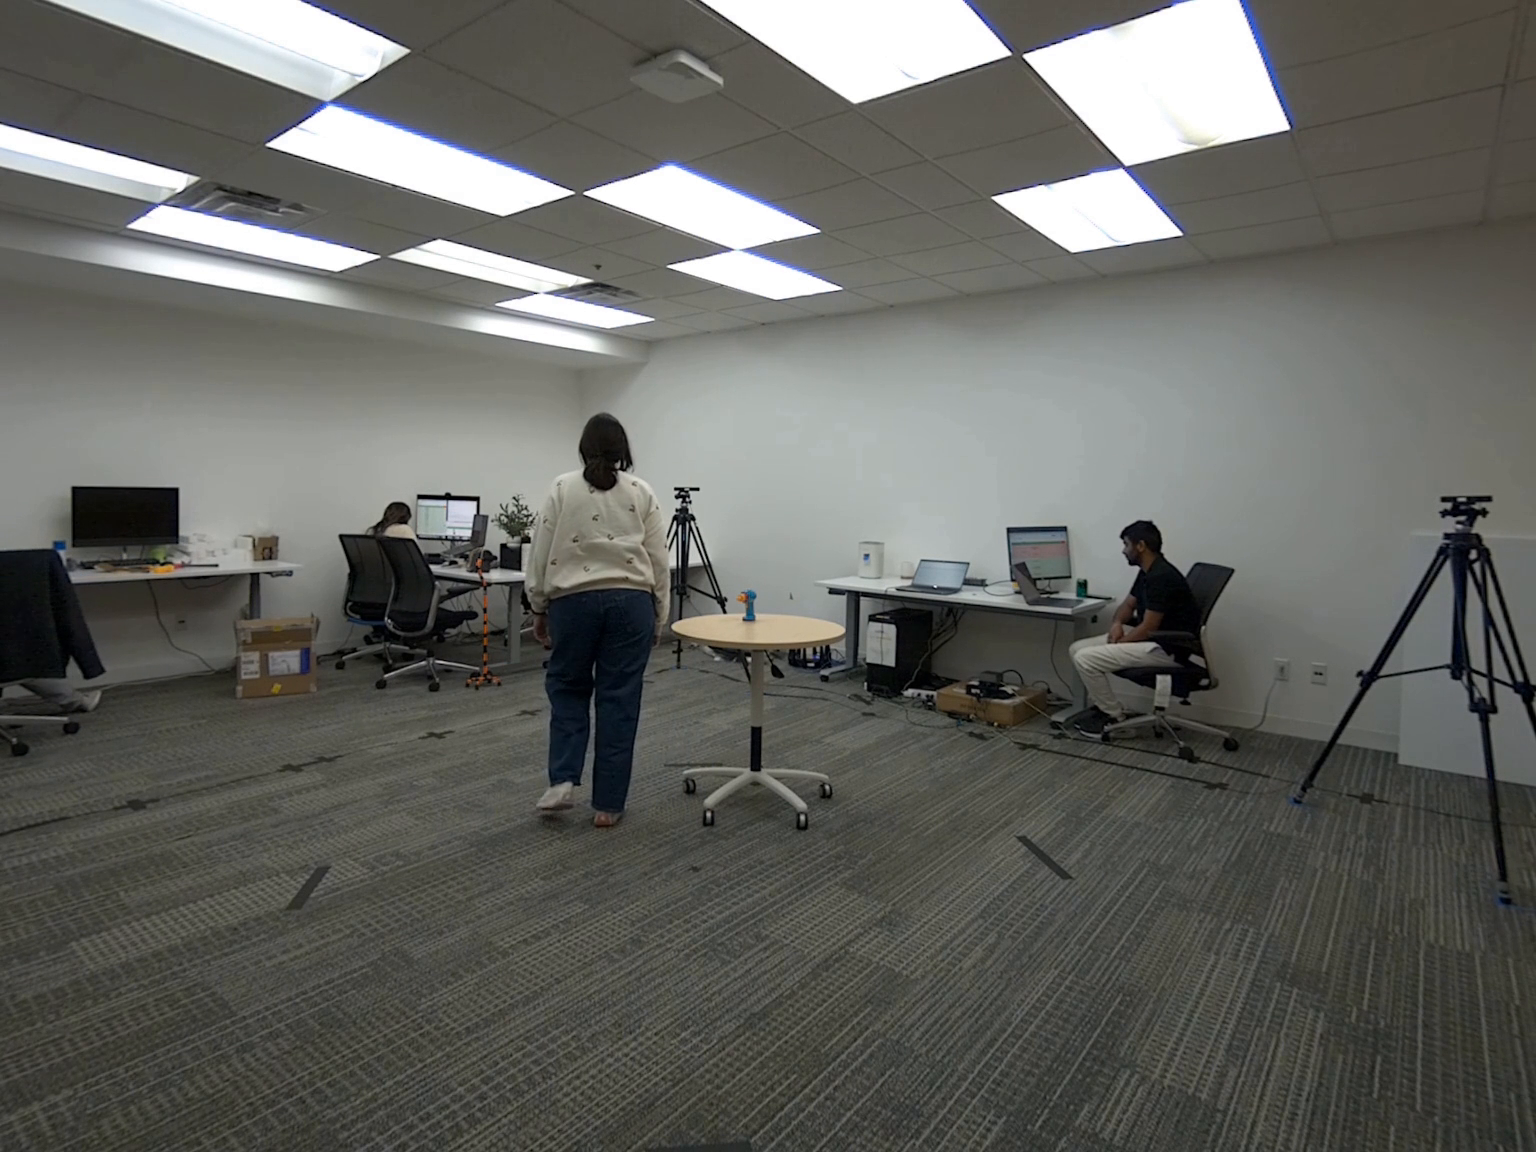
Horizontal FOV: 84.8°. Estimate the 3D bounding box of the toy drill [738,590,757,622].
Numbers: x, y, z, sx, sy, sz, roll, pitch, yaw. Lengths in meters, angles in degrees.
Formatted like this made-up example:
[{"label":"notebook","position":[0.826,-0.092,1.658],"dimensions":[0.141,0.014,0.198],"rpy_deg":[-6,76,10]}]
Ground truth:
[{"label":"toy drill","position":[-0.112,0.133,3.911],"dimensions":[0.062,0.145,0.166],"rpy_deg":[4,4,20]}]
